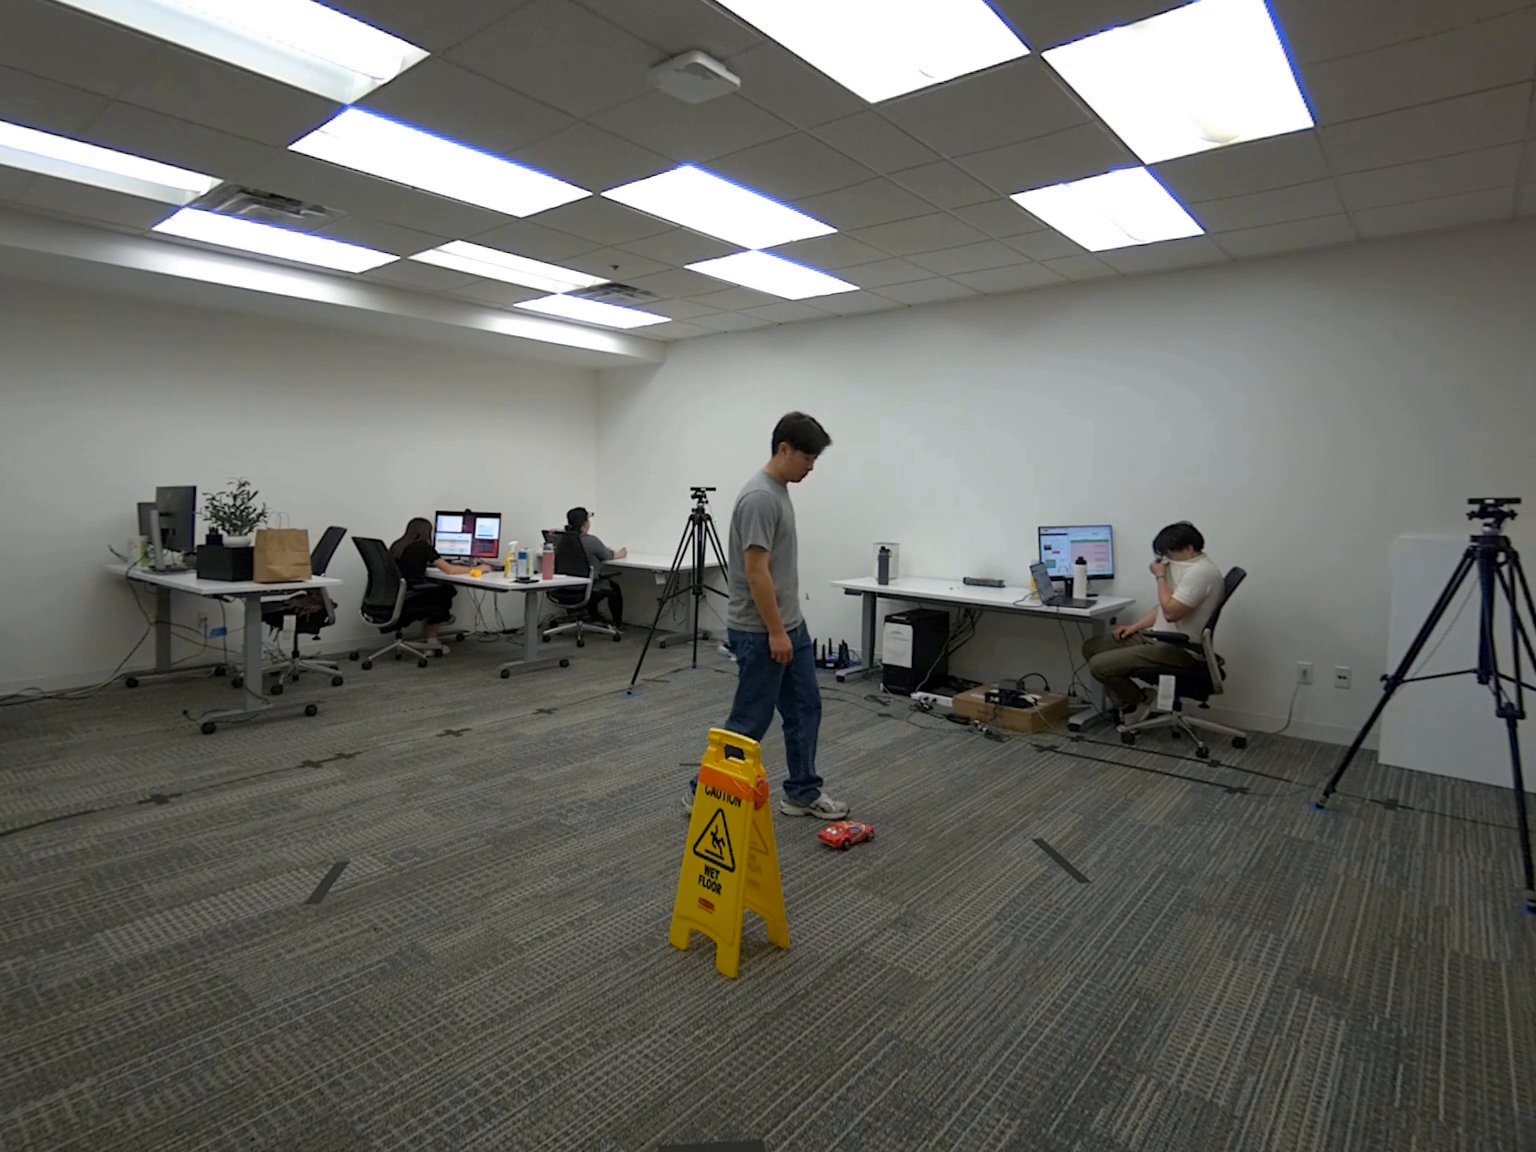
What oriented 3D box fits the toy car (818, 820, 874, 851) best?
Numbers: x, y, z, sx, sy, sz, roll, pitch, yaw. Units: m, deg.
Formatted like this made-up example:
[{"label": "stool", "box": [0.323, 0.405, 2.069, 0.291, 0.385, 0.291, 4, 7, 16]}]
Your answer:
[{"label": "toy car", "box": [0.297, 1.019, 3.366, 0.245, 0.083, 0.135, 11, -2, -40]}]
